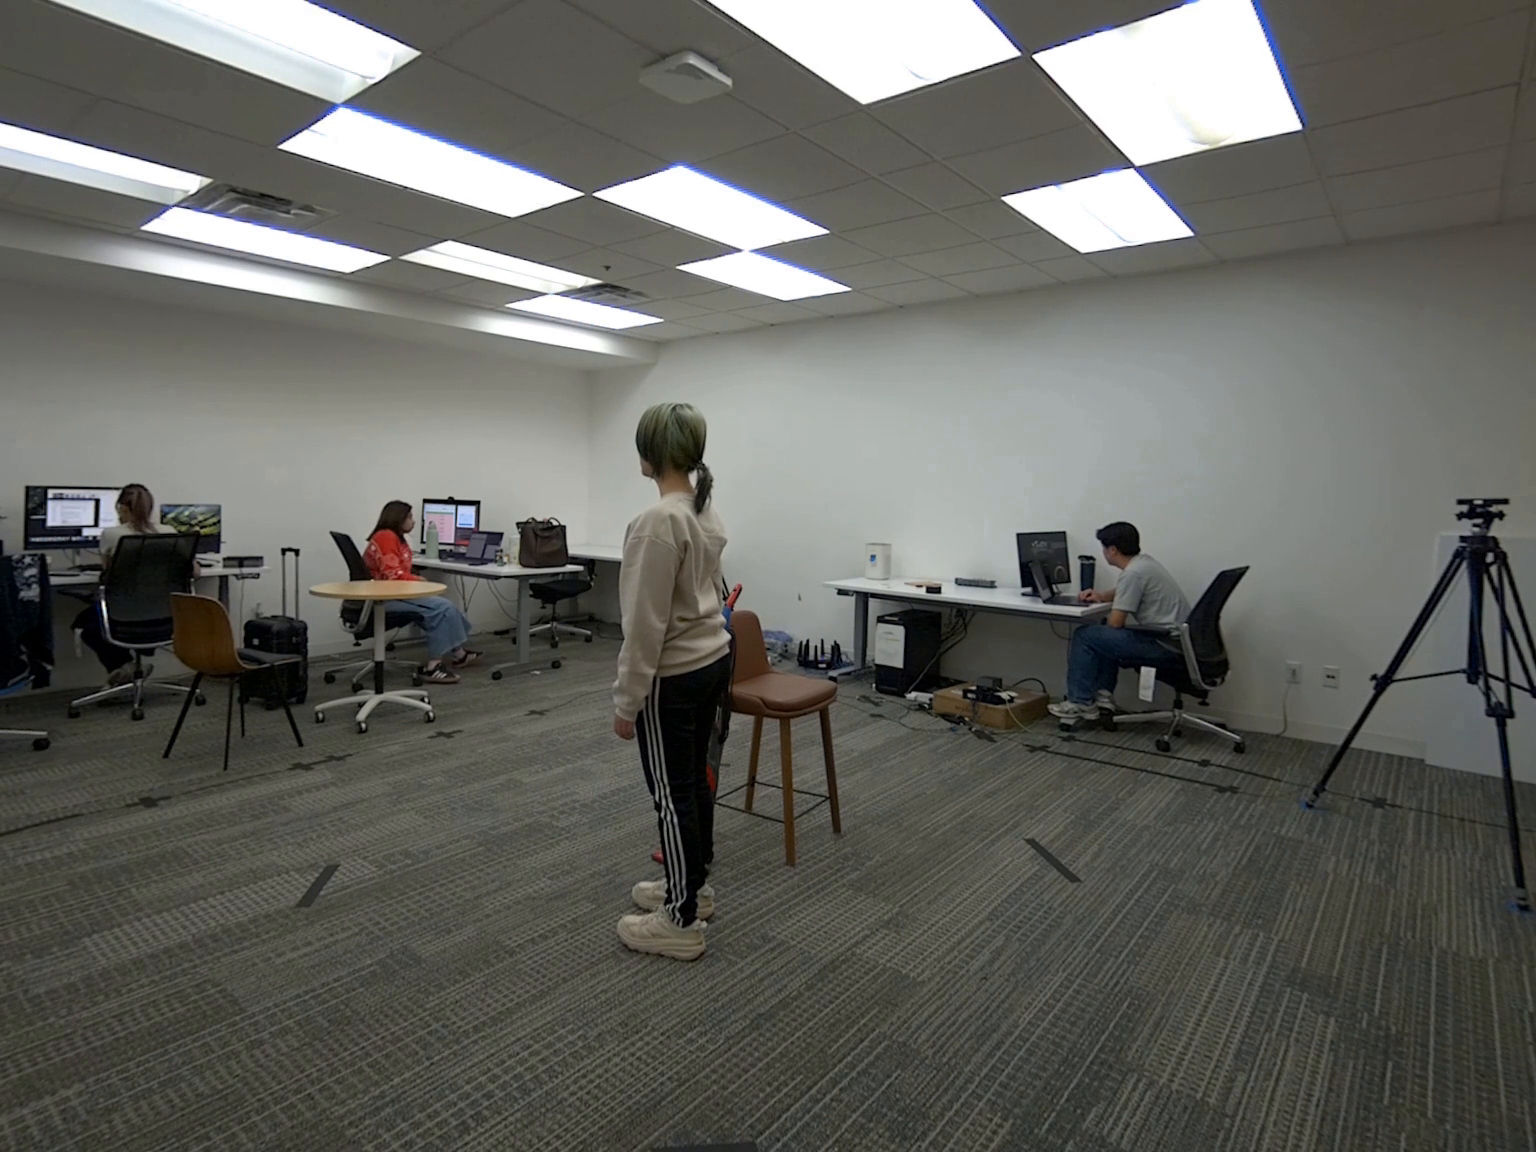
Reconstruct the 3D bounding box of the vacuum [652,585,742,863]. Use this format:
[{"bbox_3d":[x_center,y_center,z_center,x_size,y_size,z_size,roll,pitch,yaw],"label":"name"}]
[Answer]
[{"bbox_3d":[-0.206,0.550,3.242,0.138,1.056,0.261,18,-11,-40],"label":"vacuum"}]
